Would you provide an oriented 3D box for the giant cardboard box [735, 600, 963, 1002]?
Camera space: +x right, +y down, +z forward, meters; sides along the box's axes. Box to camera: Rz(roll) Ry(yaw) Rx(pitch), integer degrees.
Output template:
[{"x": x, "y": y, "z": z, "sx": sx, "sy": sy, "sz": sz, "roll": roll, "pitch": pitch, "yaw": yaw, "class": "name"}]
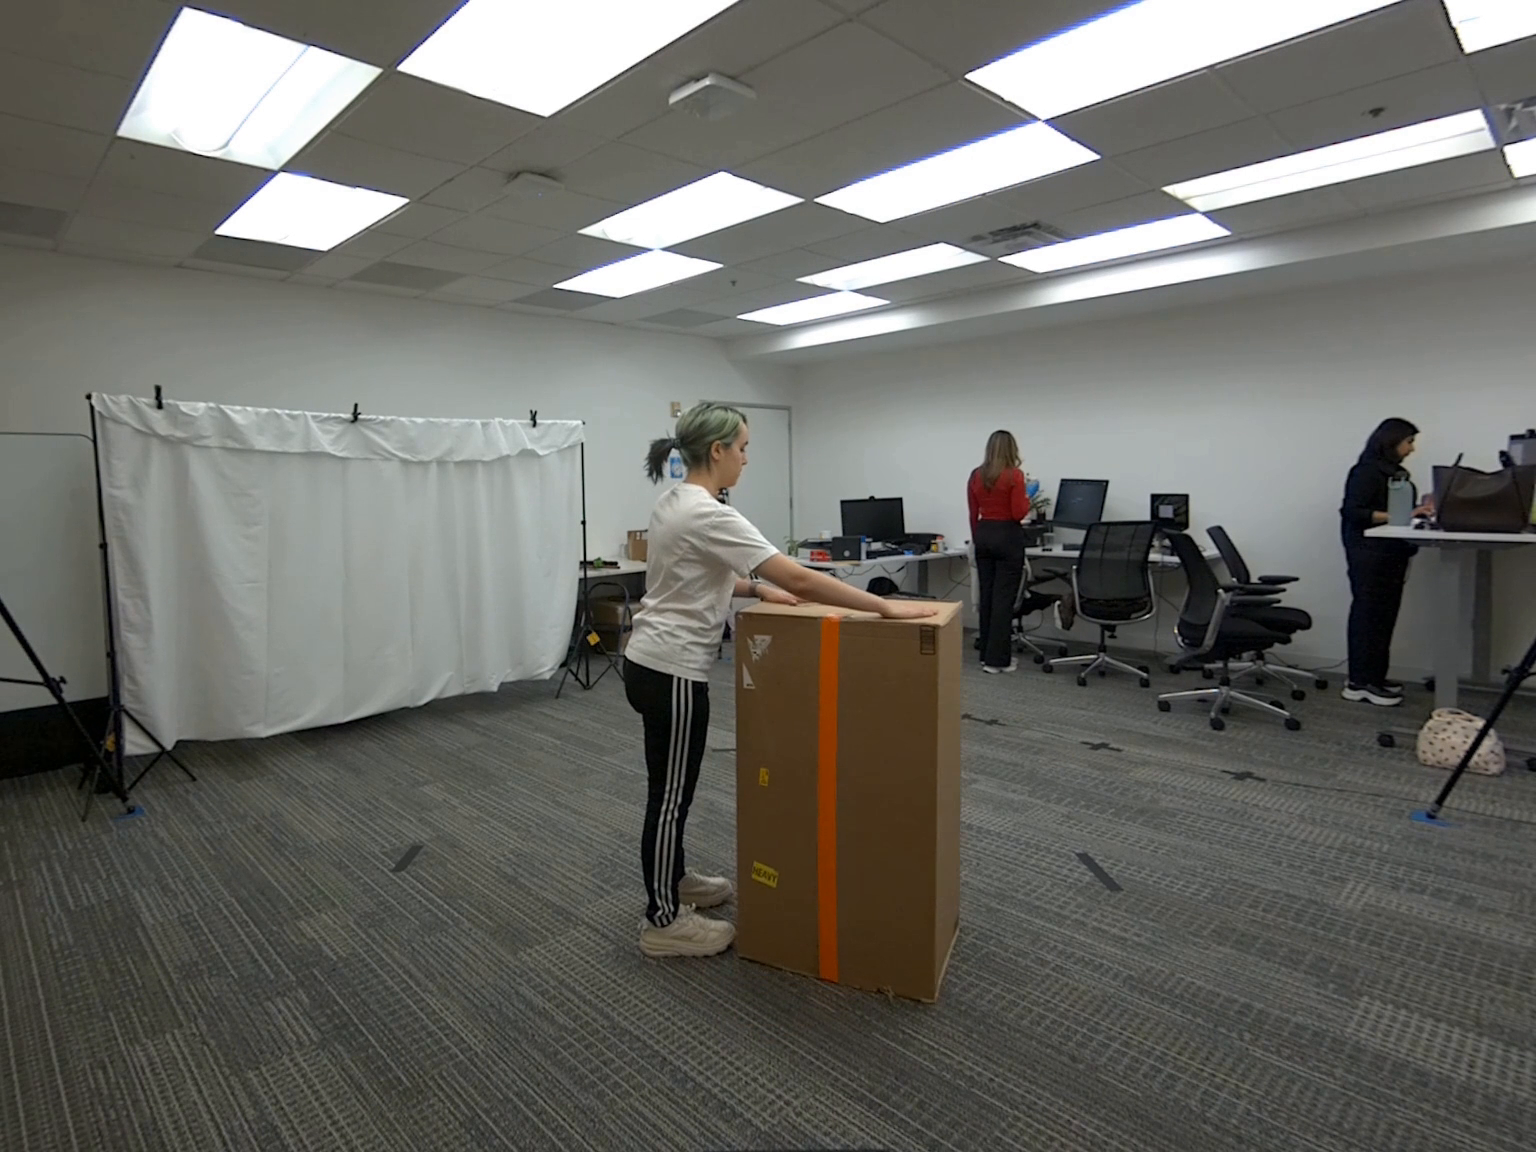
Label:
[{"x": 0.249, "y": 0.602, "z": 2.538, "sx": 0.597, "sy": 1.024, "sz": 0.438, "roll": 2, "pitch": 4, "yaw": 23, "class": "giant cardboard box"}]
